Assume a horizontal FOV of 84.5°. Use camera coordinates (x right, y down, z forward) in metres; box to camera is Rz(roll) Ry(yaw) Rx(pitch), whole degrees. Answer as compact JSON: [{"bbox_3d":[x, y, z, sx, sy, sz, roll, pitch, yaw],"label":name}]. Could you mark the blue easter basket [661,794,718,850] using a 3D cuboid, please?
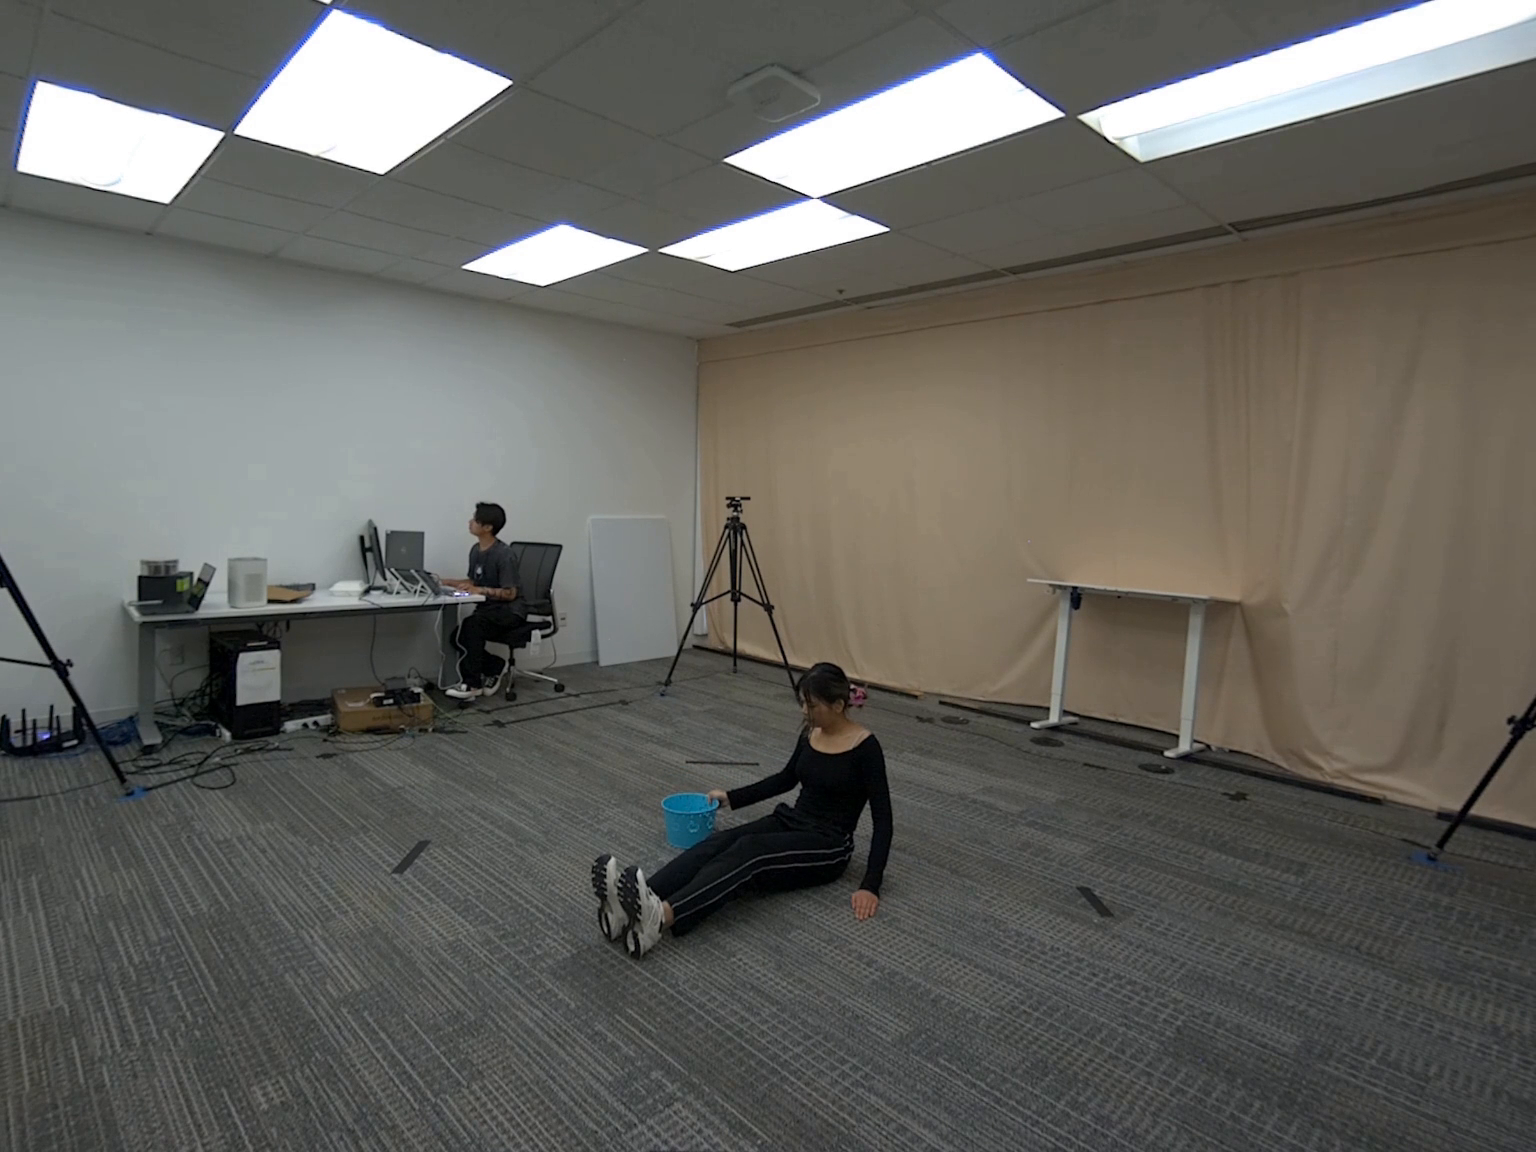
[{"bbox_3d":[-0.315,0.991,3.427,0.243,0.155,0.244,1,4,-1],"label":"blue easter basket"}]
